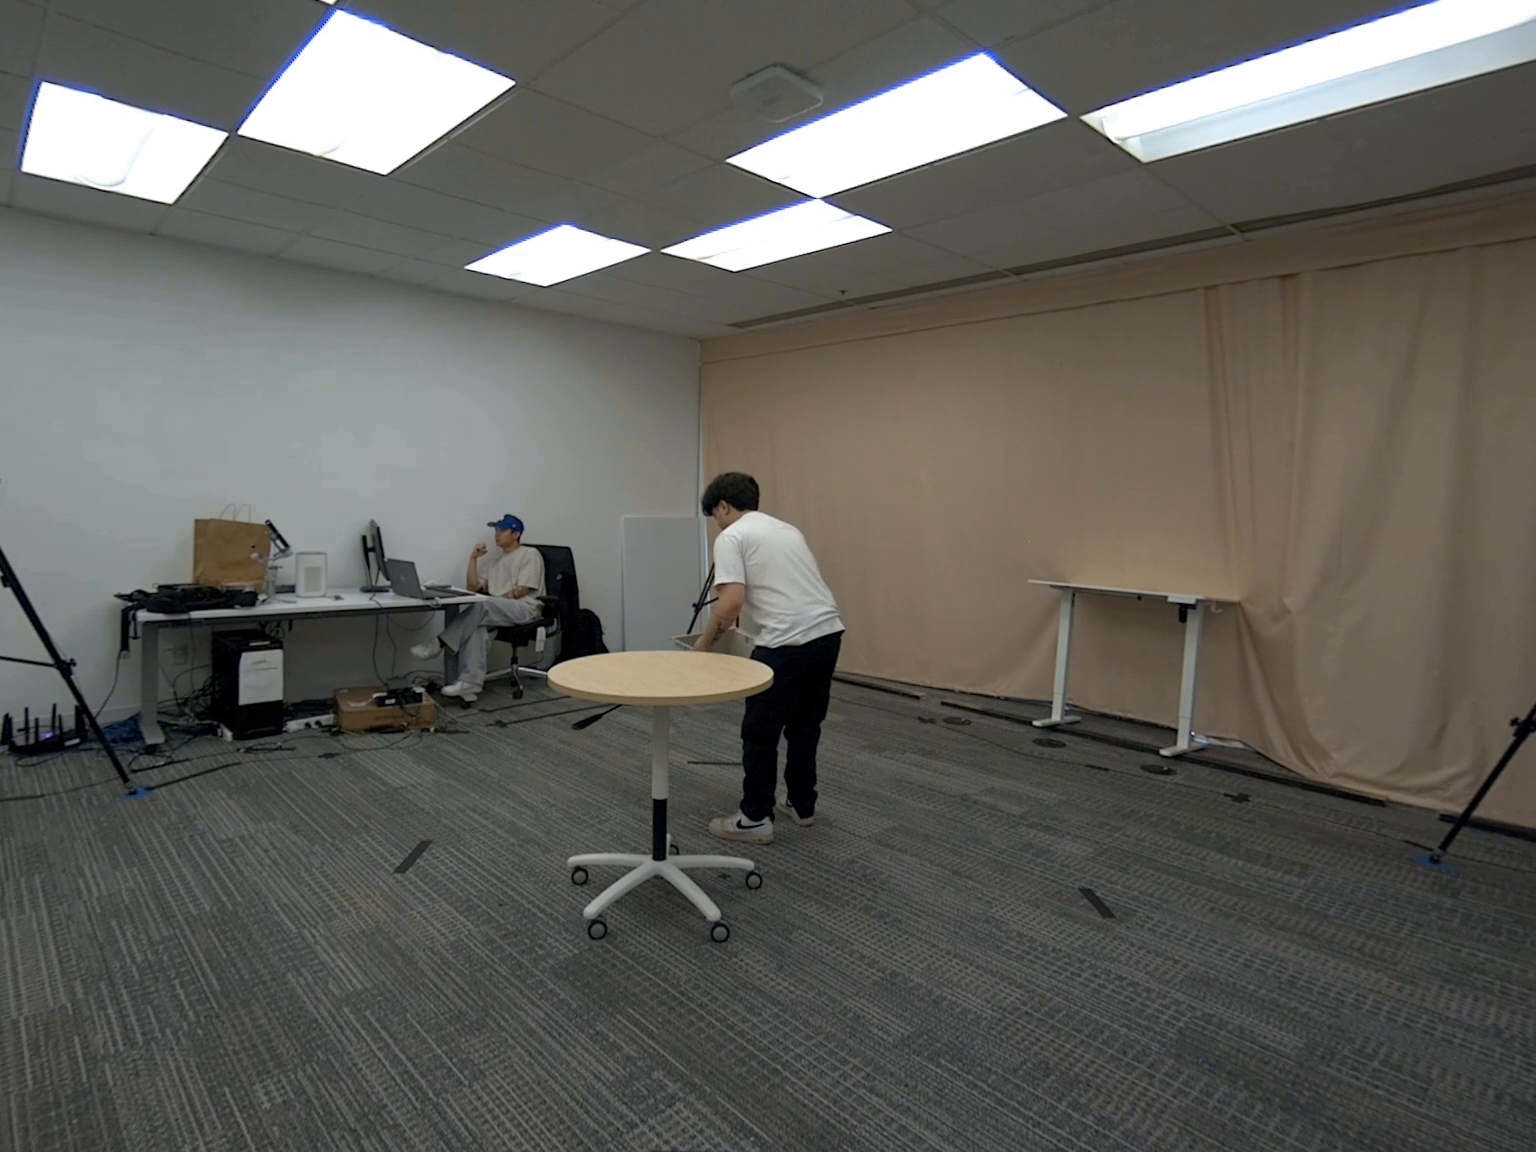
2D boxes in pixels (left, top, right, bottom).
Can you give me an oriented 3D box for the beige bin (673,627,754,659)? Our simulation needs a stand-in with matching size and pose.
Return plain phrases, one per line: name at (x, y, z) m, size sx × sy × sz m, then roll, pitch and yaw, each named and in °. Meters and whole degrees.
beige bin at (-0.164, 0.396, 3.755) m, size 0.388 × 0.188 × 0.413 m, roll 18°, pitch 15°, yaw 40°
